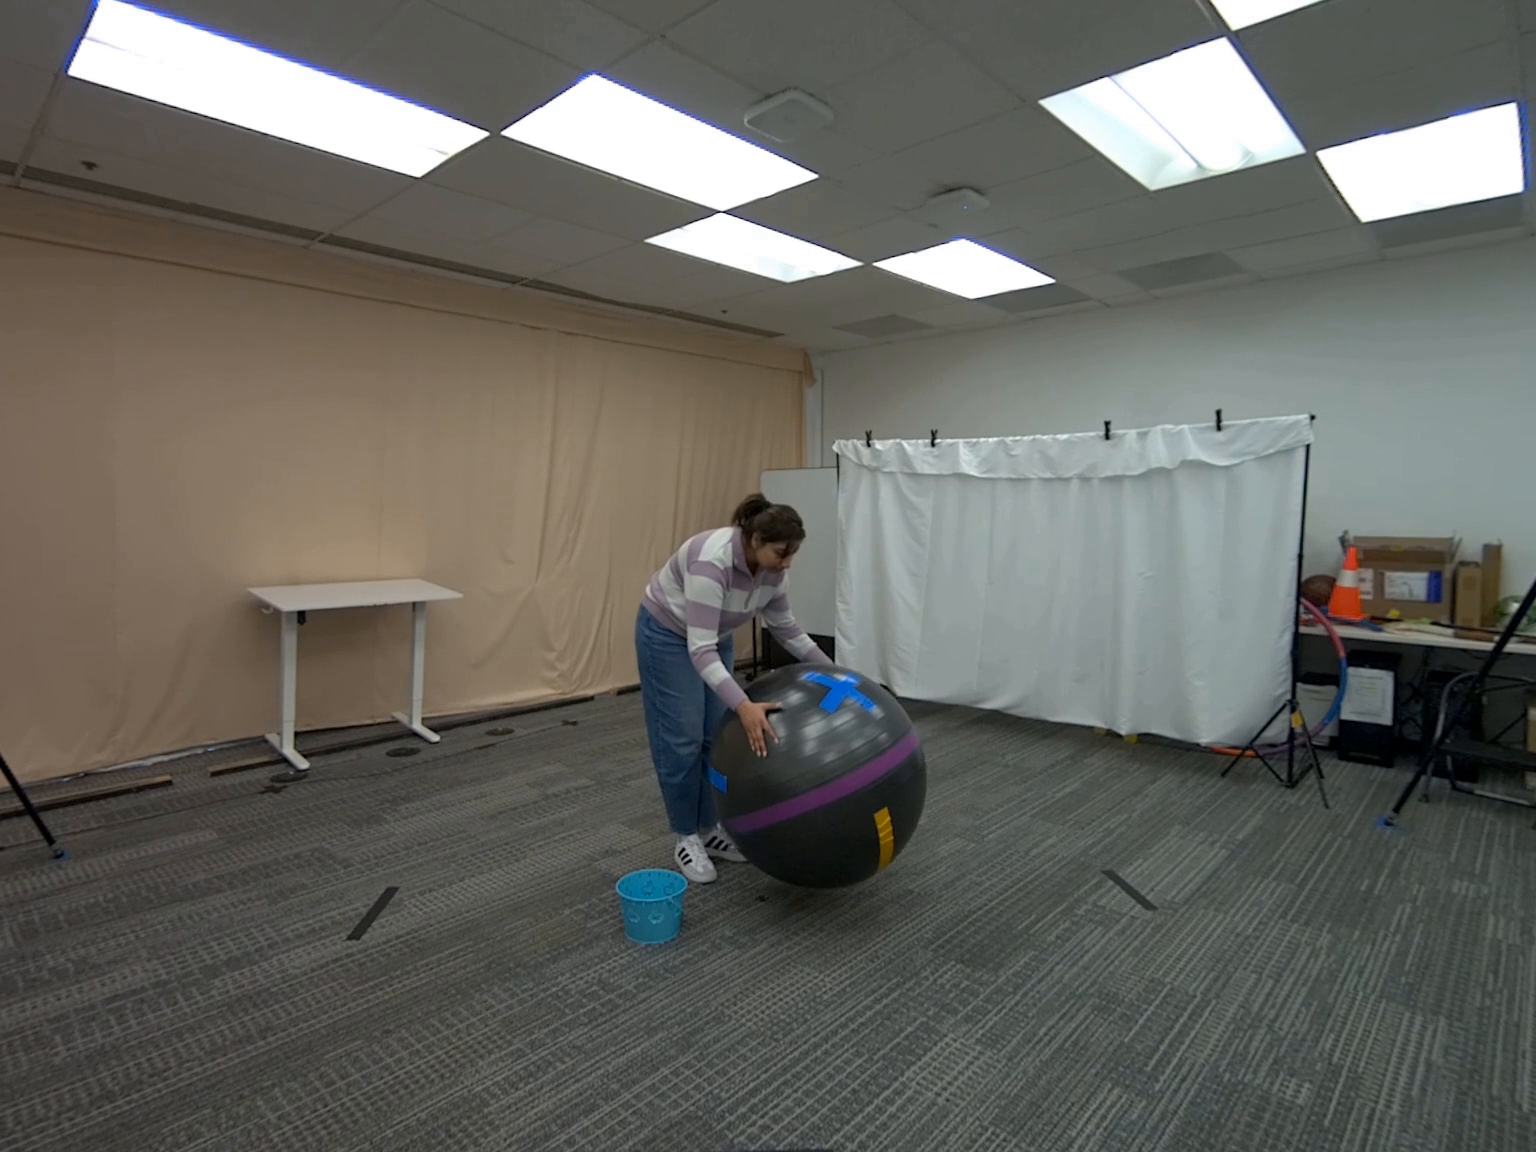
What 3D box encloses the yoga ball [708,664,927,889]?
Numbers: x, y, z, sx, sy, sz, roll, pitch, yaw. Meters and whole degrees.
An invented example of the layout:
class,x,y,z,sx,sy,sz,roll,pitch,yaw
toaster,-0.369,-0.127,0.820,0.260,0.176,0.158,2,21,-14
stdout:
class,x,y,z,sx,sy,sz,roll,pitch,yaw
yoga ball,0.168,0.694,2.947,0.757,0.756,0.760,0,4,-2
